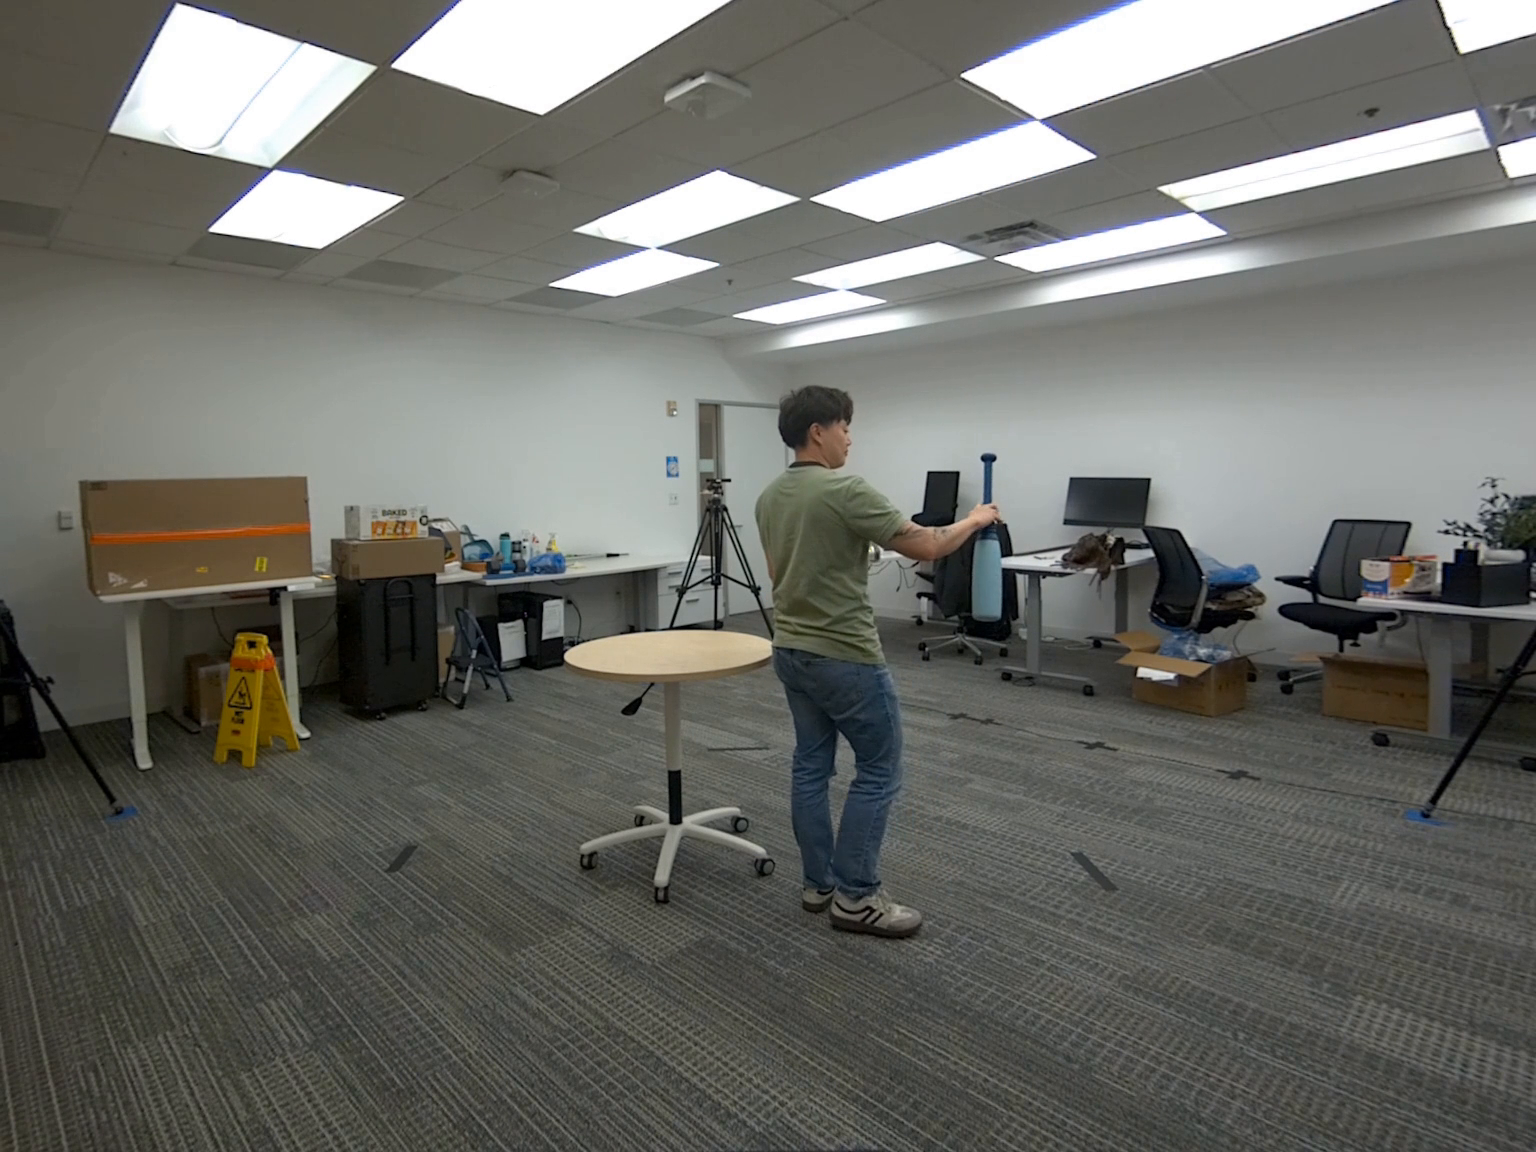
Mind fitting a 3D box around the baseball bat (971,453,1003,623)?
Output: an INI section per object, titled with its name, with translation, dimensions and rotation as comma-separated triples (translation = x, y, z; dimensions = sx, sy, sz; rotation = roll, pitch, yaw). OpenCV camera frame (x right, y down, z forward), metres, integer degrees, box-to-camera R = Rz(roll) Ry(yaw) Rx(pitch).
[baseball bat]
translation = 0.699, -0.131, 2.722
dimensions = 0.089, 0.549, 0.088
rotation = 4, -13, -1
